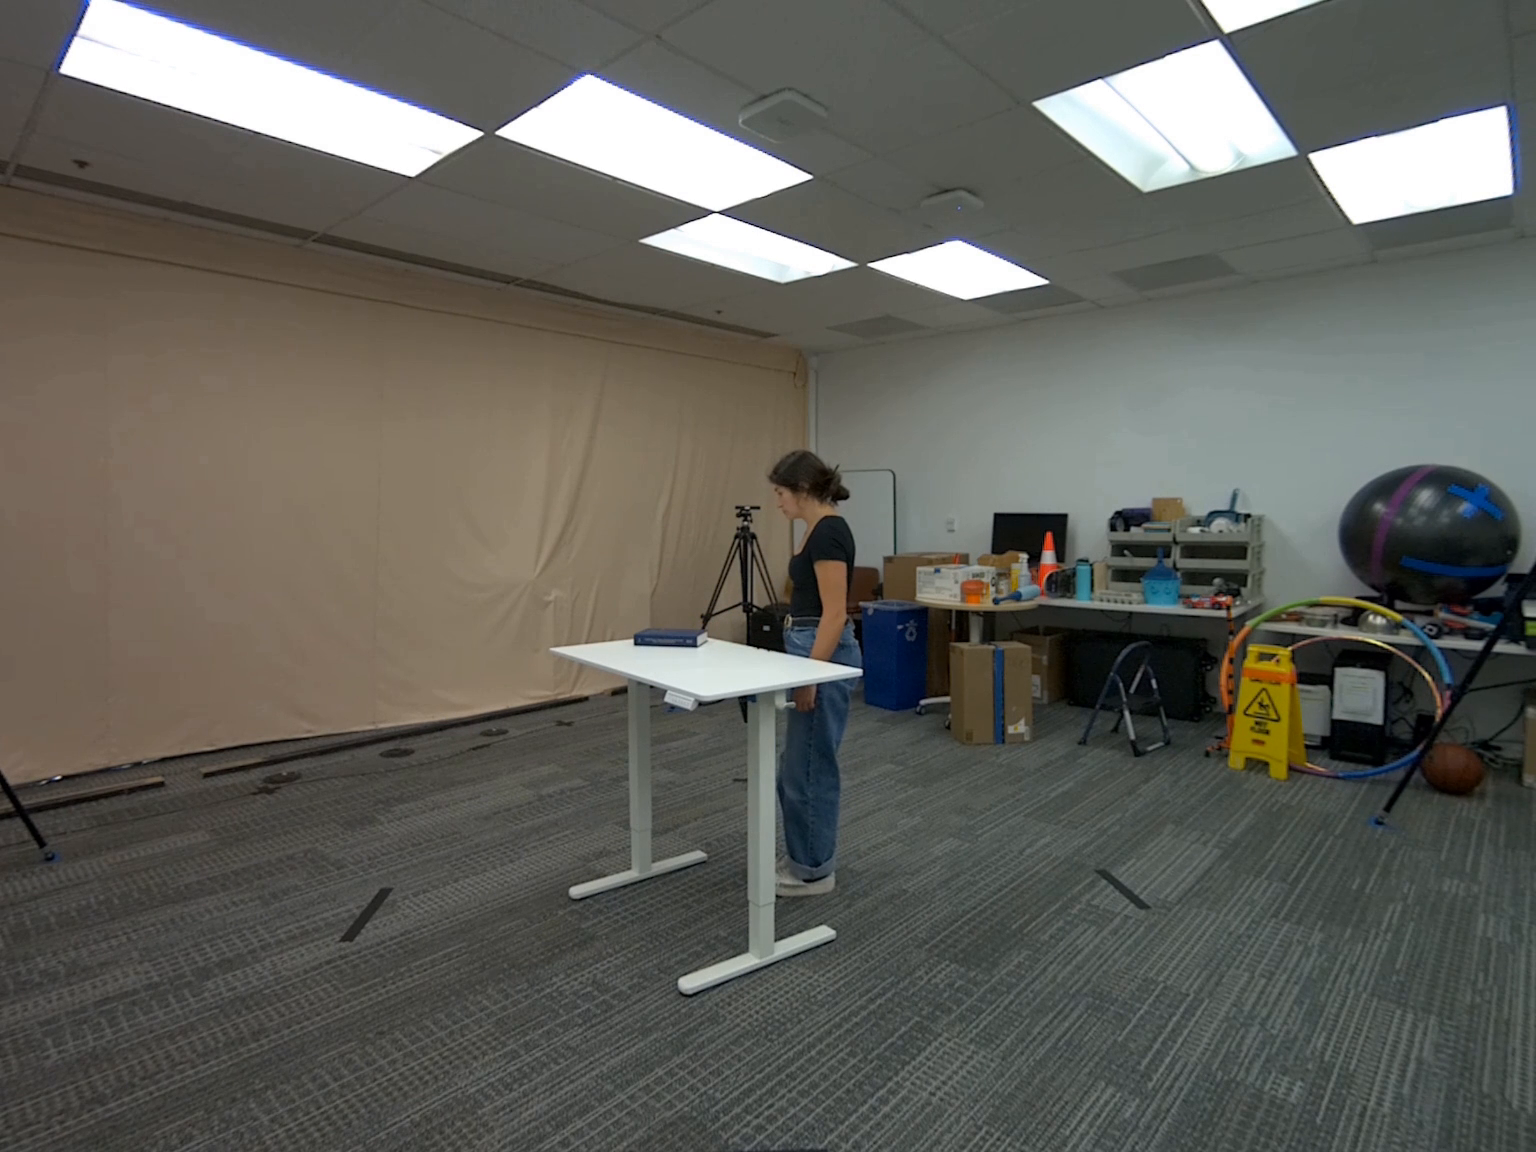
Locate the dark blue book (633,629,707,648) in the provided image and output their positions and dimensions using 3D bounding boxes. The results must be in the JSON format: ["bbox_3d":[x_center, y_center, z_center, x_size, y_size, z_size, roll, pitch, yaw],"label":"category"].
[{"bbox_3d":[-0.361,0.236,3.141,0.248,0.045,0.161,0,3,12],"label":"dark blue book"}]
